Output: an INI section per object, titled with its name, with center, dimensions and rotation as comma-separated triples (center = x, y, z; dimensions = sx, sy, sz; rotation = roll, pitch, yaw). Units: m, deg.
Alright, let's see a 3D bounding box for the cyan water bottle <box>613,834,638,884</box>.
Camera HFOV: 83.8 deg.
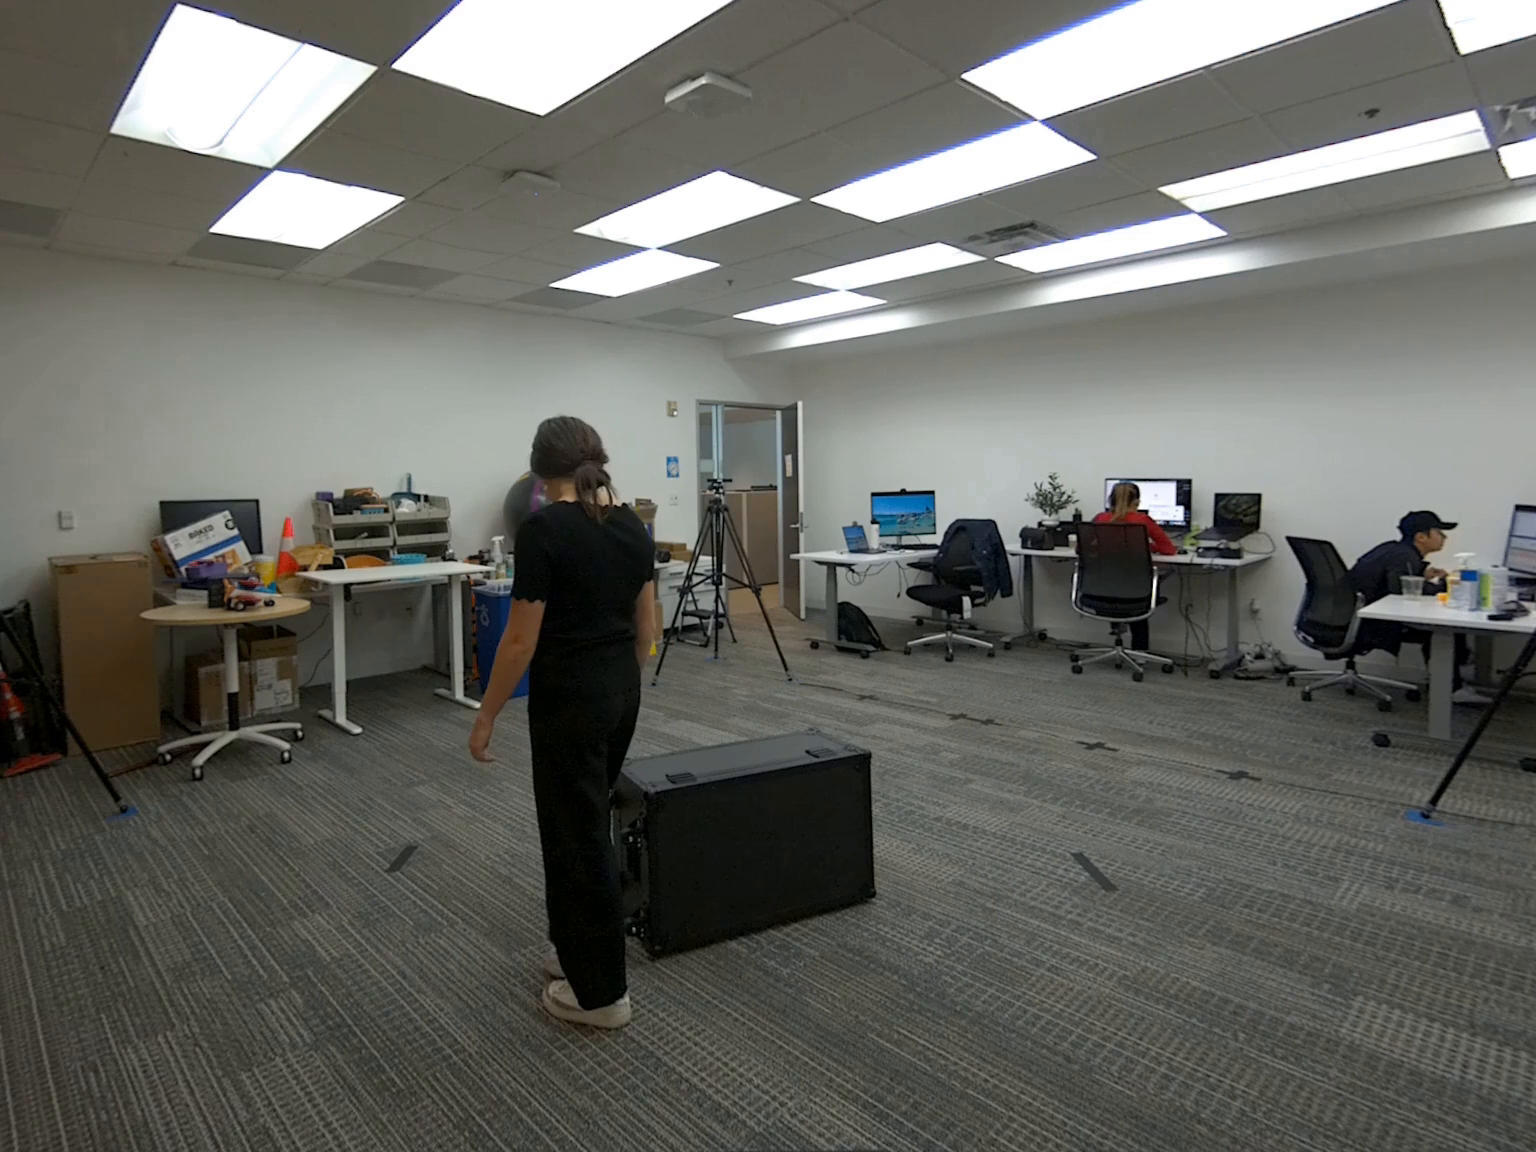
[cyan water bottle]
center = -0.577, 1.009, 3.100
dimensions = 0.090, 0.092, 0.291
rotation = -4, 6, -32
